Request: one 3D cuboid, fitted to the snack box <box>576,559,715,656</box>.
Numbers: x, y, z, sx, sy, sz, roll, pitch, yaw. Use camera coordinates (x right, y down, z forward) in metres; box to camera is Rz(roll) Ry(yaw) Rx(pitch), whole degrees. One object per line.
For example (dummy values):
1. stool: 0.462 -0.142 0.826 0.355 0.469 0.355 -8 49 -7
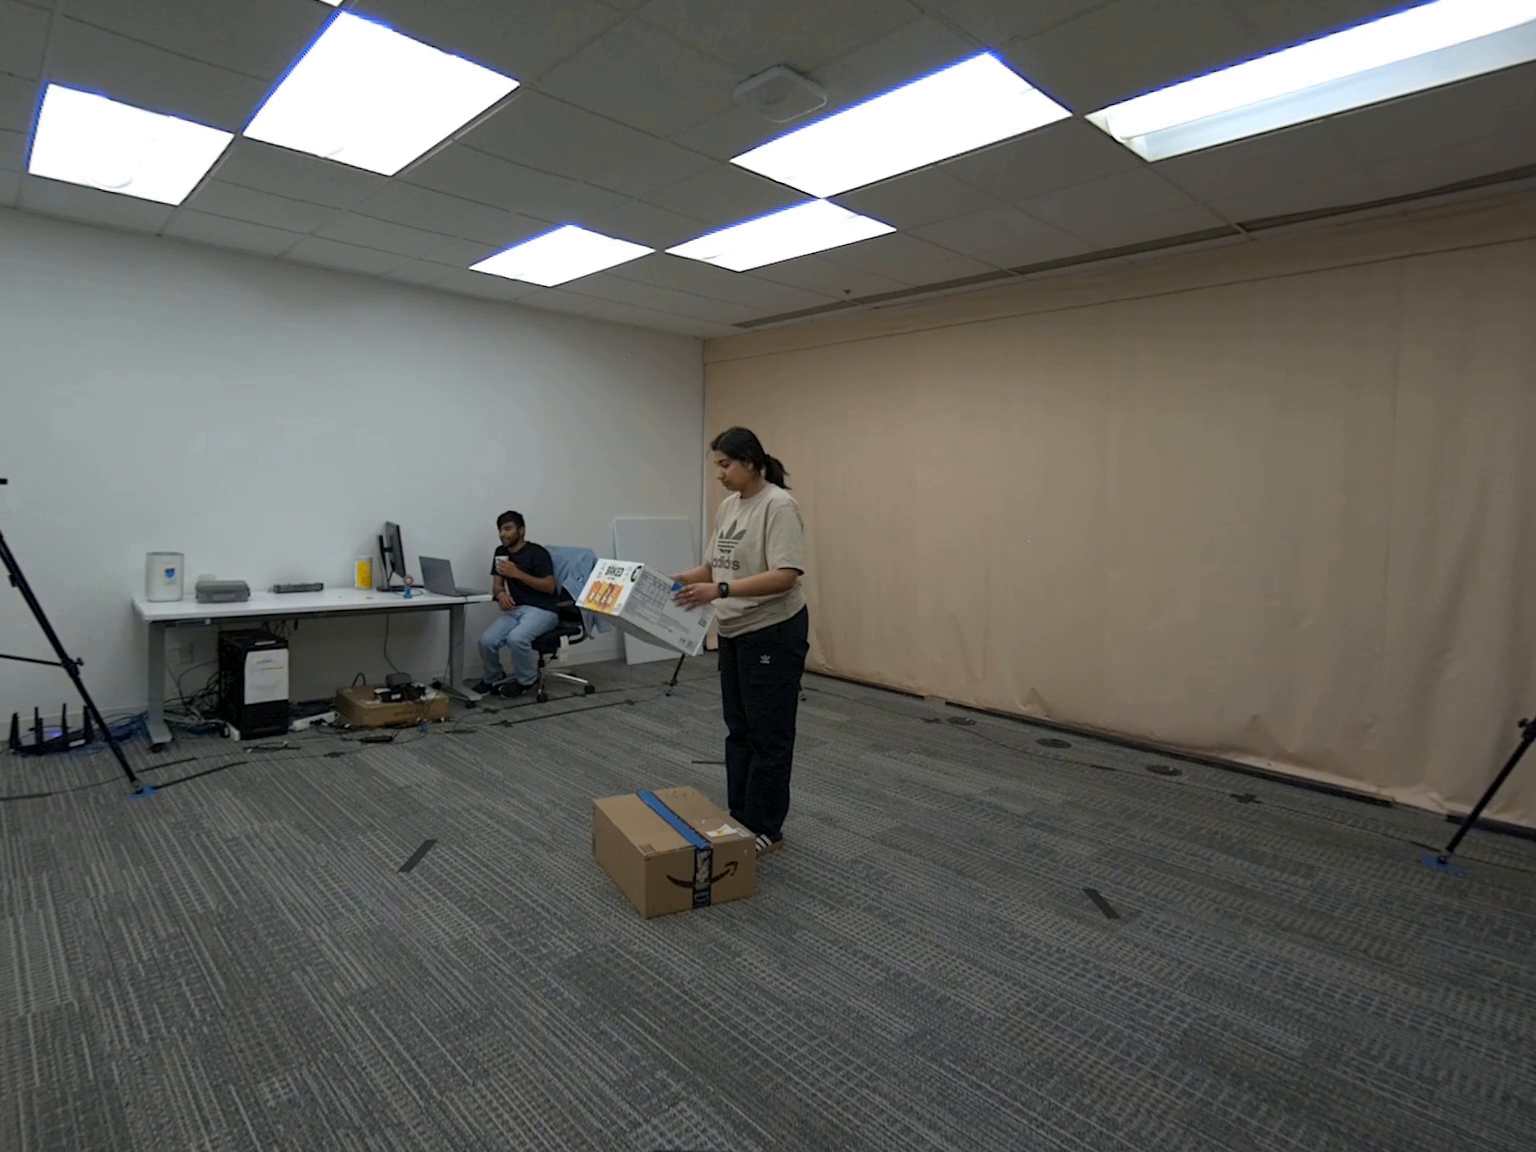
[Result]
1. snack box: -0.458 0.114 3.105 0.331 0.206 0.414 32 -14 -29
